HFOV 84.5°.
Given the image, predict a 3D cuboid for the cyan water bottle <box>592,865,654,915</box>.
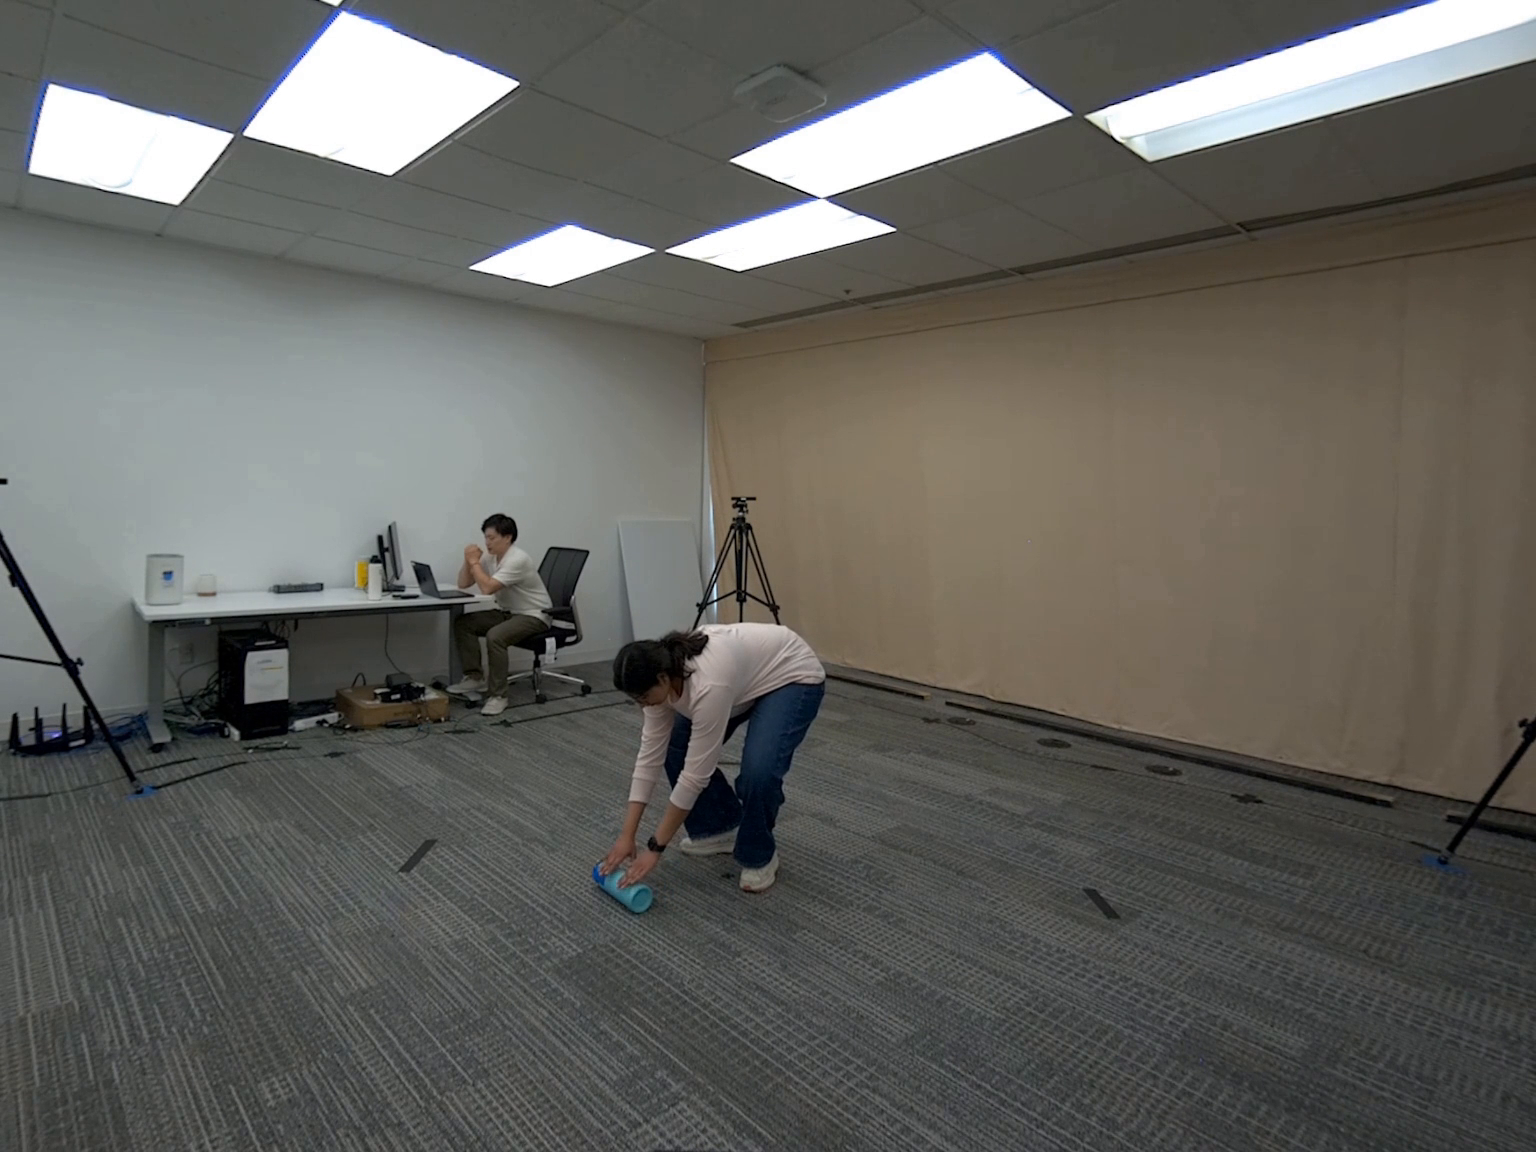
[{"bbox_3d":[-0.518,1.071,2.912,0.090,0.092,0.291,-2,6,-41],"label":"cyan water bottle"}]
